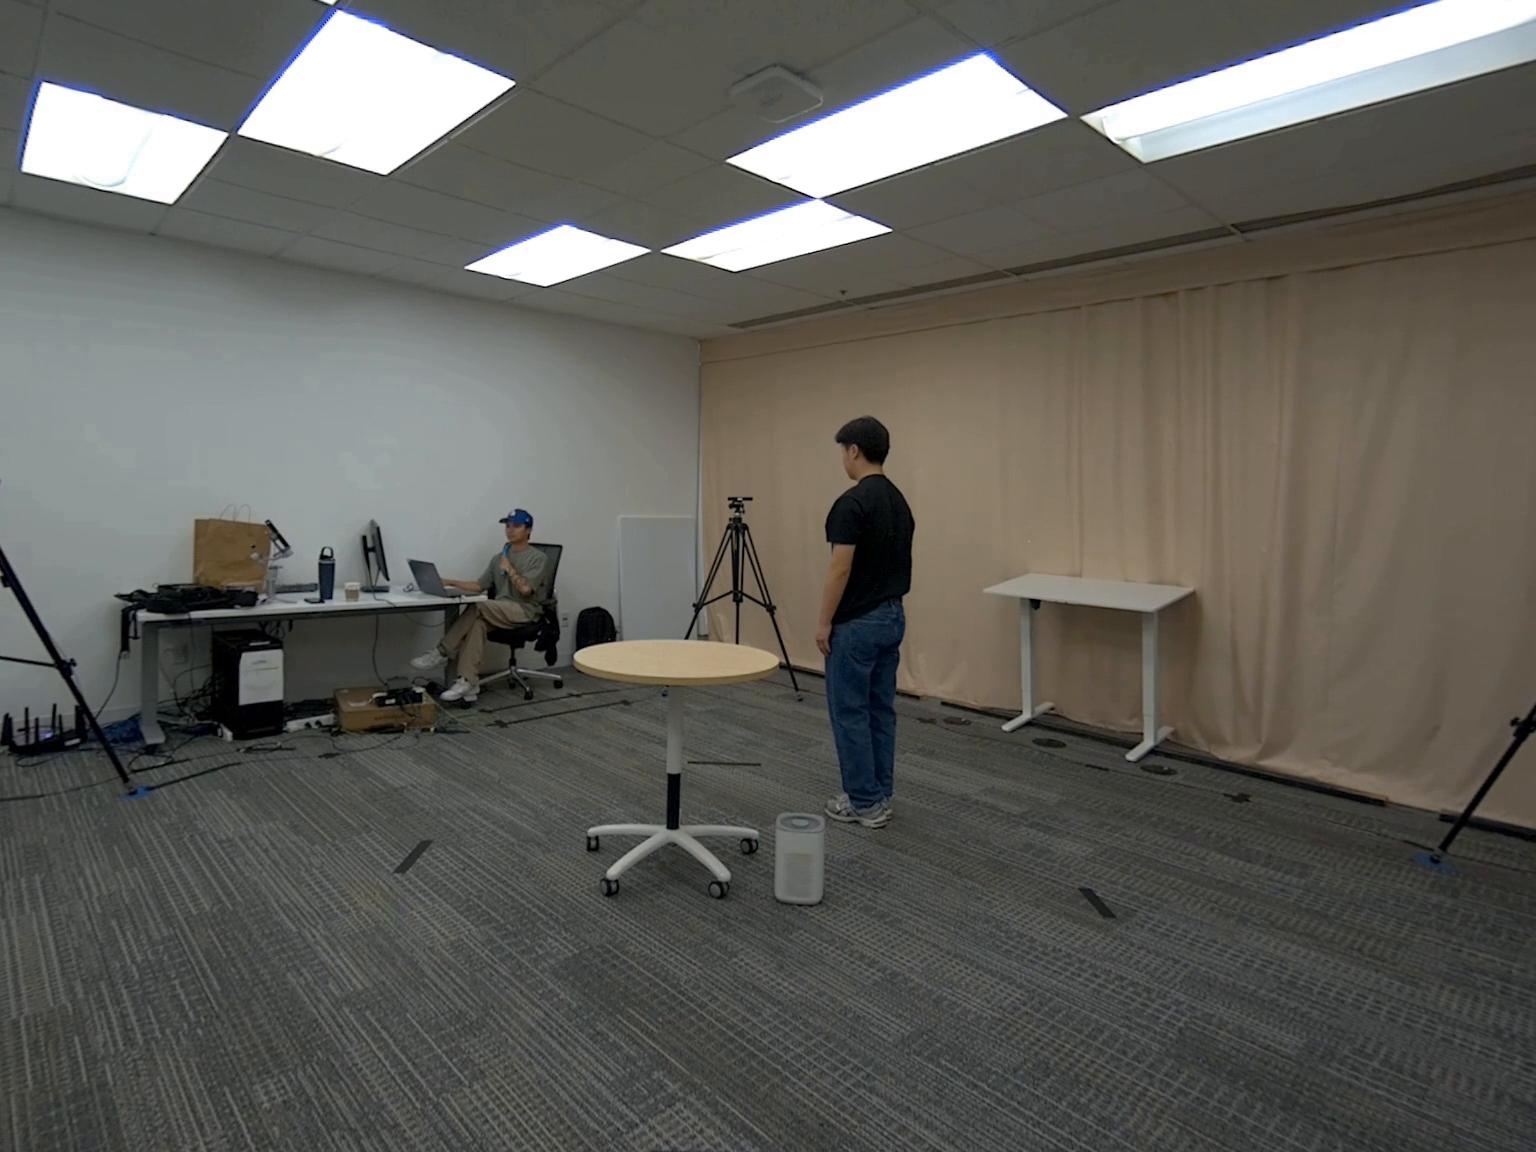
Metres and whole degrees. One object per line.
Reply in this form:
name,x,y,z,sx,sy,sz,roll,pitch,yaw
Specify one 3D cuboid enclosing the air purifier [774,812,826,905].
air purifier,0.107,0.994,2.953,0.172,0.264,0.171,3,4,5
